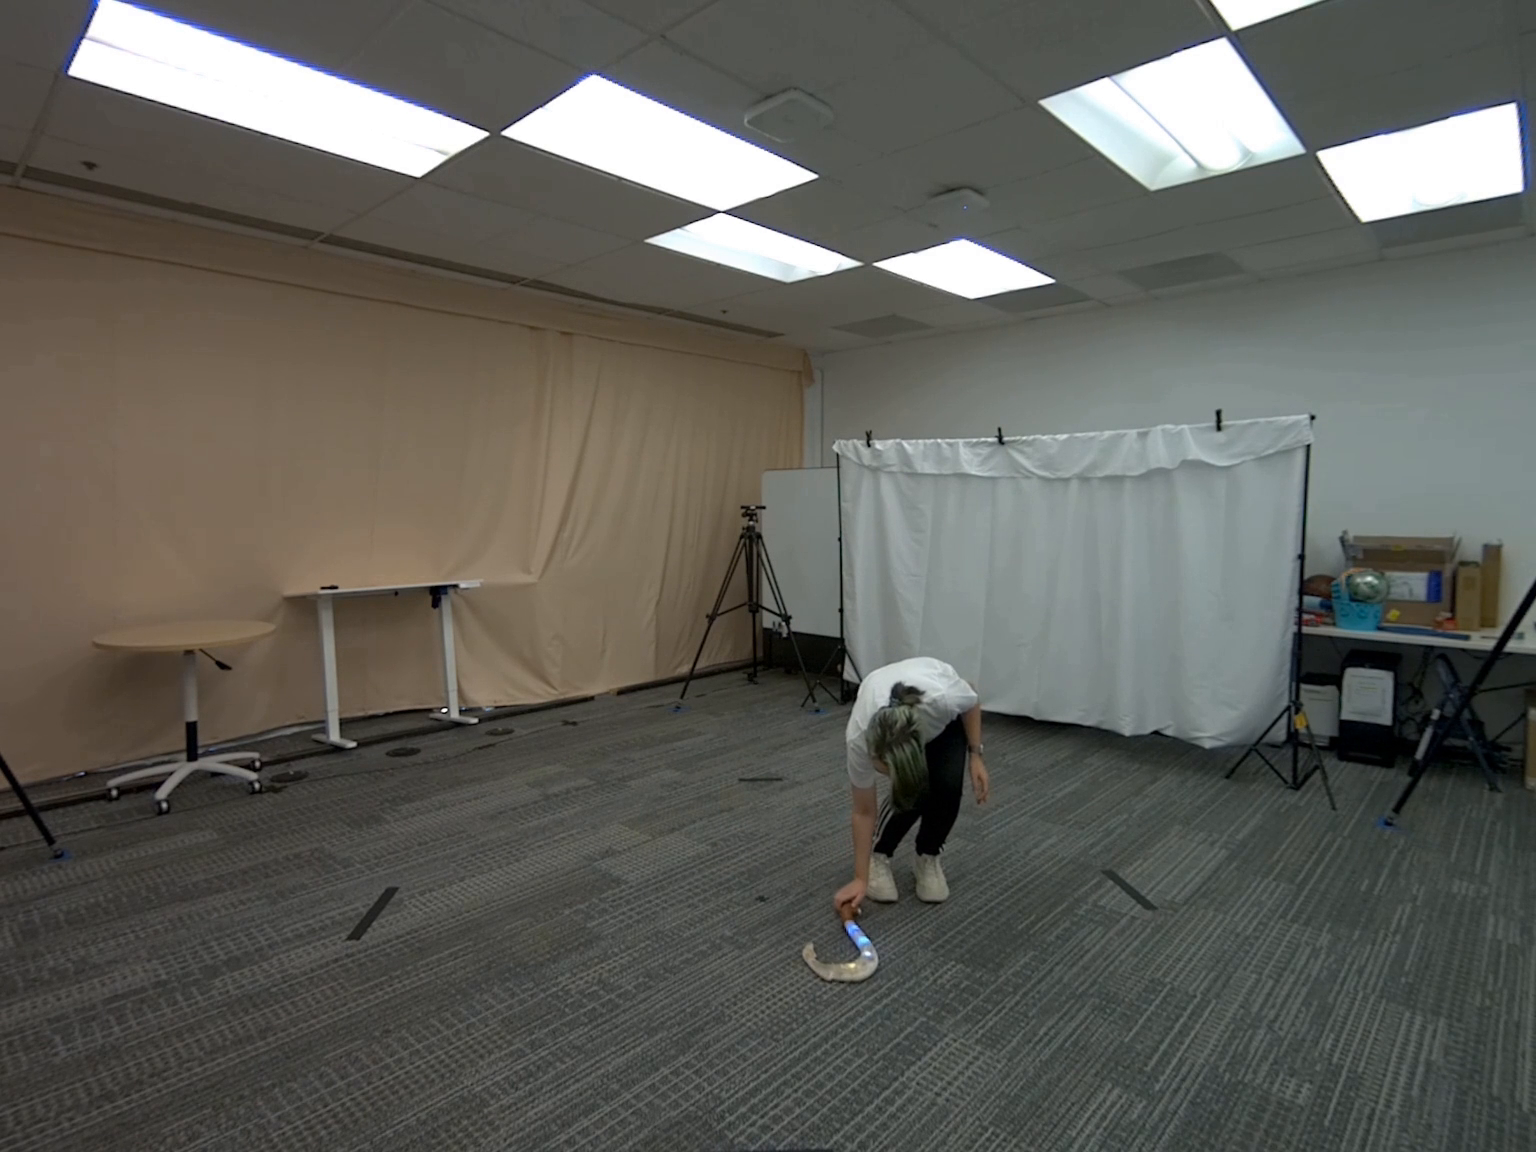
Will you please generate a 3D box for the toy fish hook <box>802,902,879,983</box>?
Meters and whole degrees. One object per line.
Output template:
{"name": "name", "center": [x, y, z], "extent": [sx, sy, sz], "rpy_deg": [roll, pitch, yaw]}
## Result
{"name": "toy fish hook", "center": [0.222, 1.141, 2.696], "extent": [0.225, 0.048, 0.506], "rpy_deg": [2, 4, 1]}
